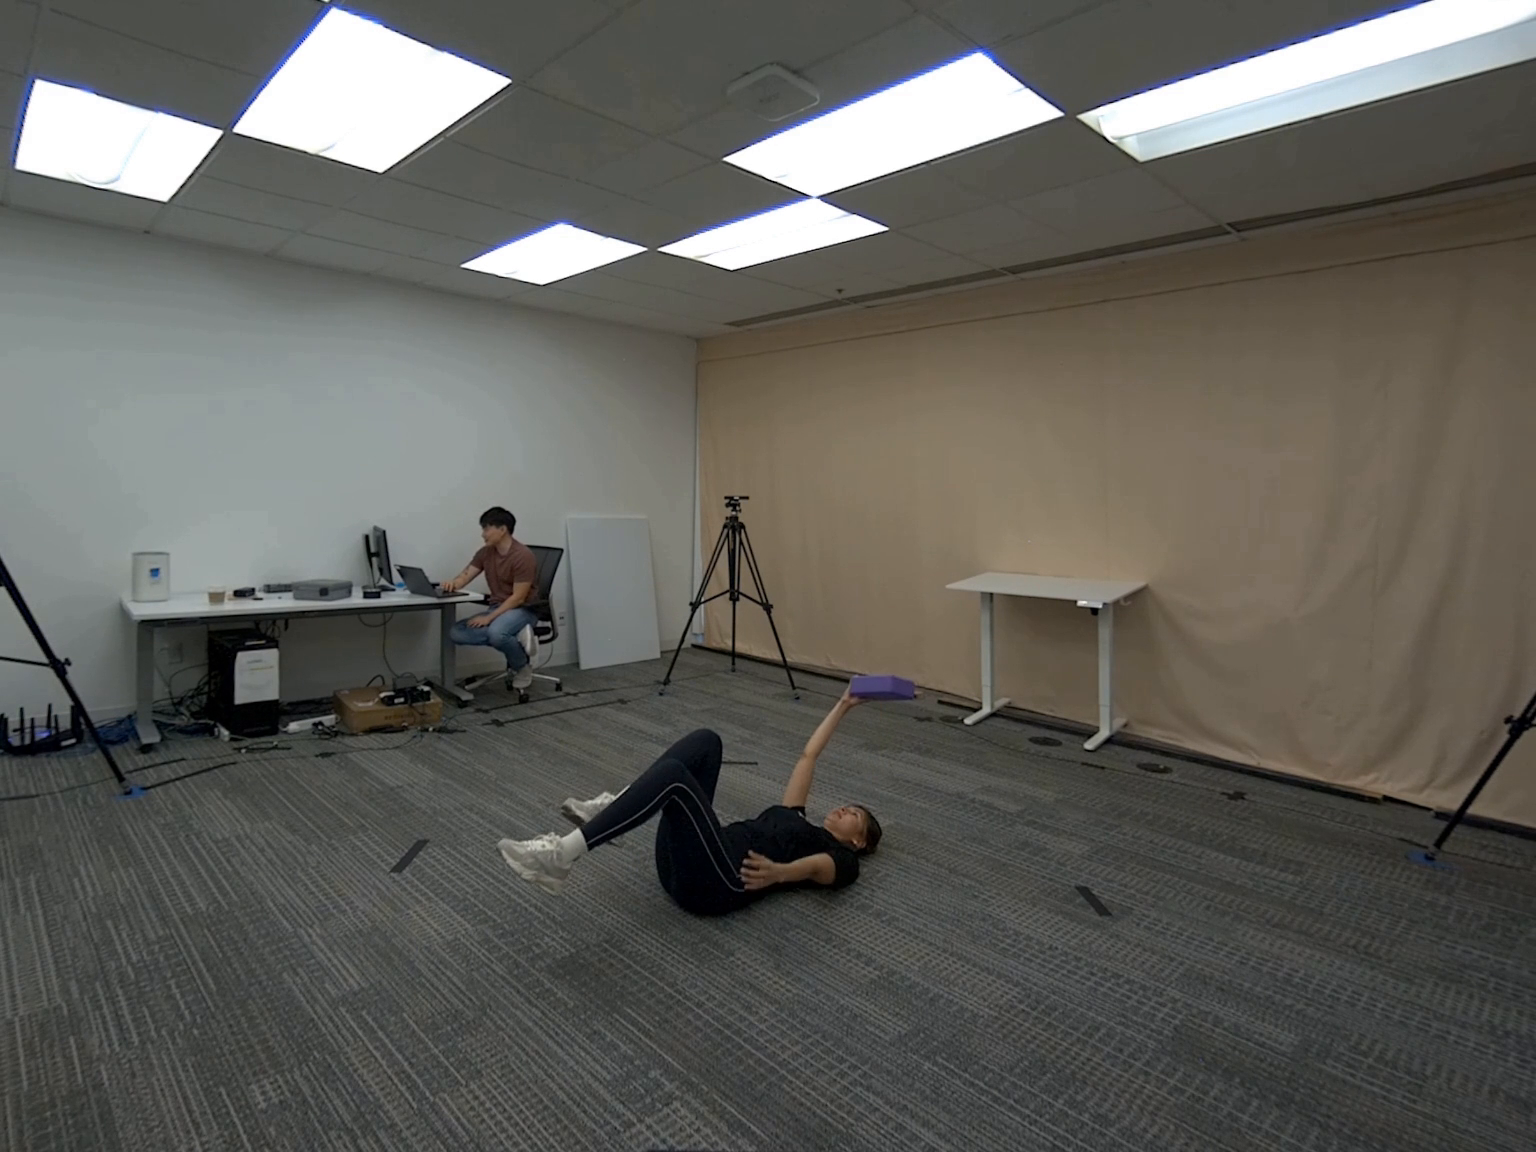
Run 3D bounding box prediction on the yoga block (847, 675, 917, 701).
[{"bbox_3d":[0.456,0.455,3.427,0.145,0.077,0.233,19,-20,-36],"label":"yoga block"}]
